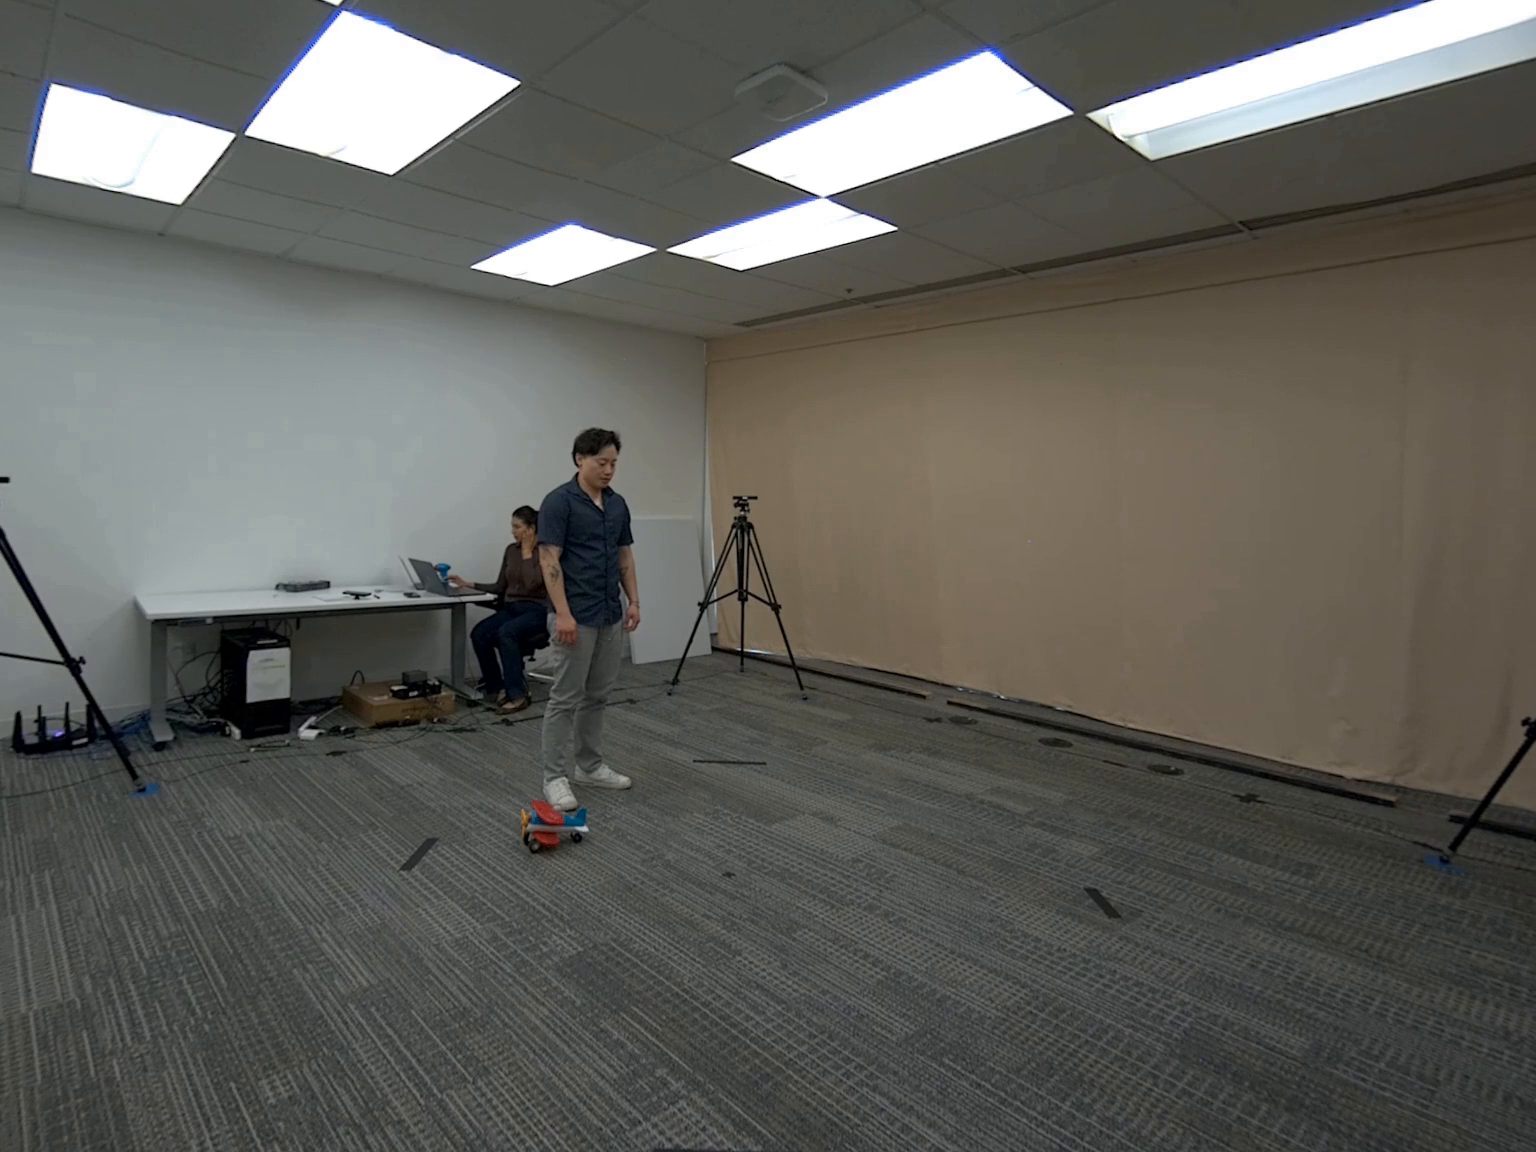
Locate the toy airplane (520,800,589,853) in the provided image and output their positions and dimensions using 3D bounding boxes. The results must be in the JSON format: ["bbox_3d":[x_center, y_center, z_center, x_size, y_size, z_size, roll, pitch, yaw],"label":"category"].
[{"bbox_3d":[-0.867,0.991,3.345,0.257,0.156,0.254,4,6,32],"label":"toy airplane"}]
